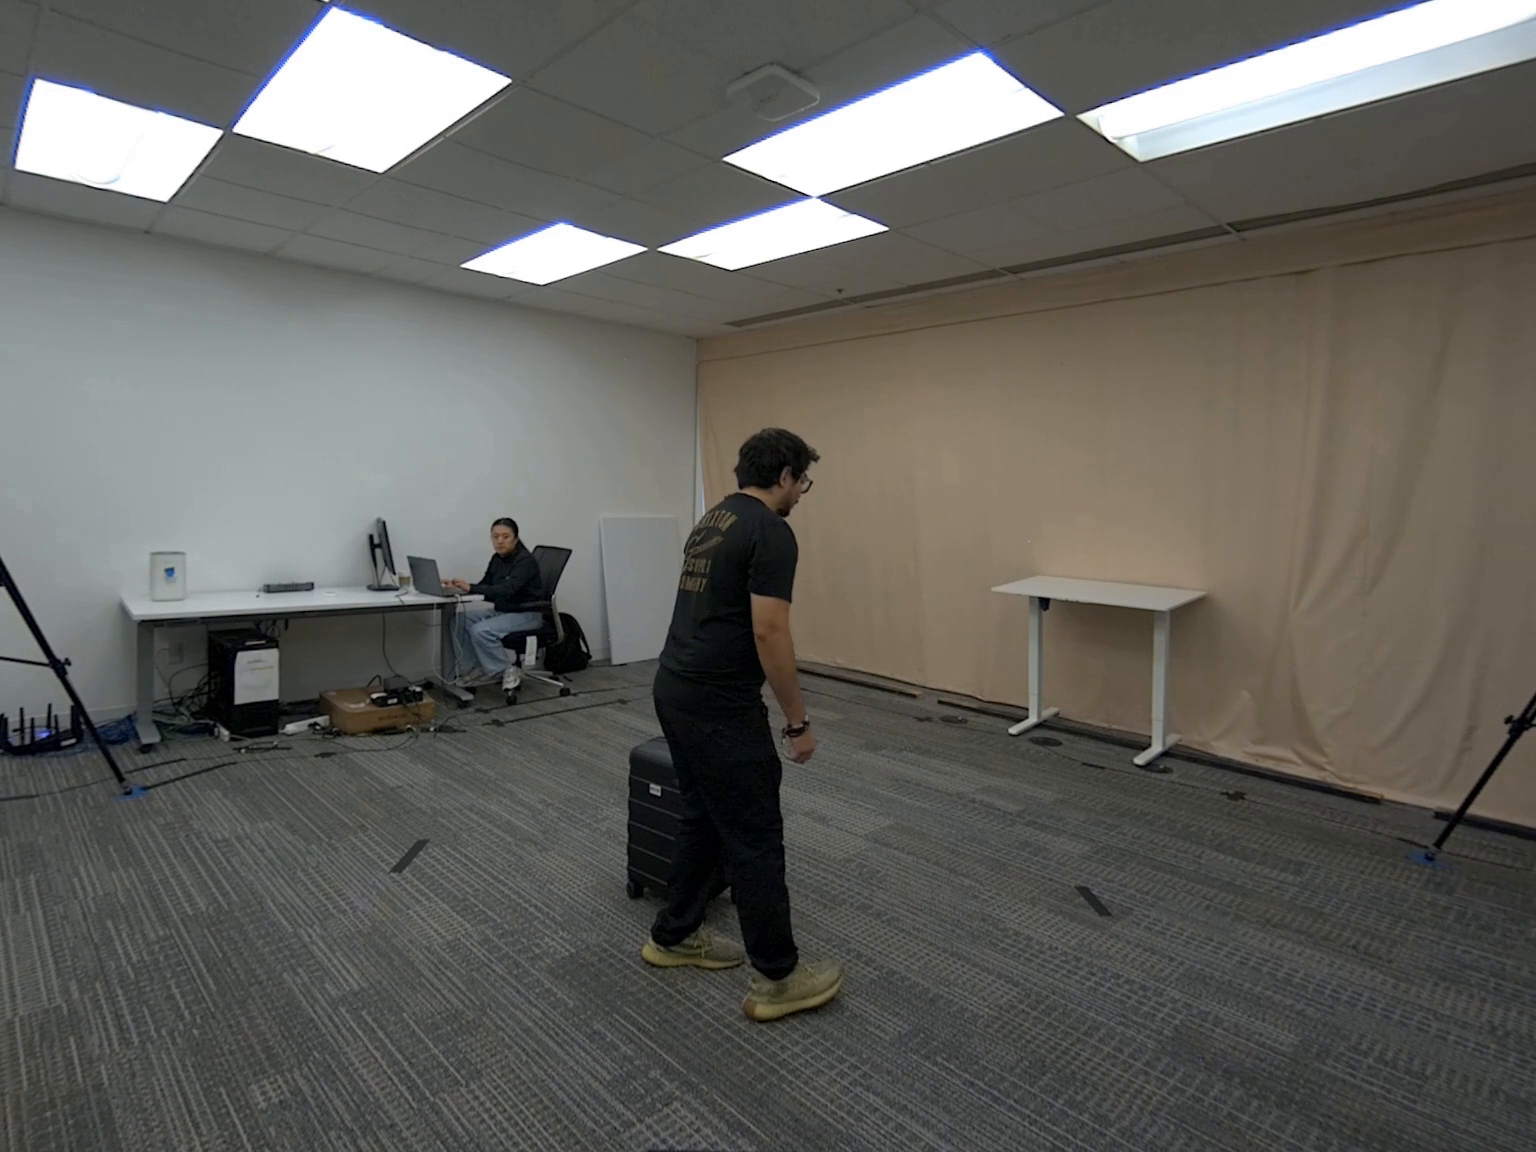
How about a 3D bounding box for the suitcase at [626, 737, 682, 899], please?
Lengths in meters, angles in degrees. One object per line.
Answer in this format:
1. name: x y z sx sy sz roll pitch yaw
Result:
1. suitcase: -0.301 0.644 2.890 0.393 0.976 0.251 2 5 40
